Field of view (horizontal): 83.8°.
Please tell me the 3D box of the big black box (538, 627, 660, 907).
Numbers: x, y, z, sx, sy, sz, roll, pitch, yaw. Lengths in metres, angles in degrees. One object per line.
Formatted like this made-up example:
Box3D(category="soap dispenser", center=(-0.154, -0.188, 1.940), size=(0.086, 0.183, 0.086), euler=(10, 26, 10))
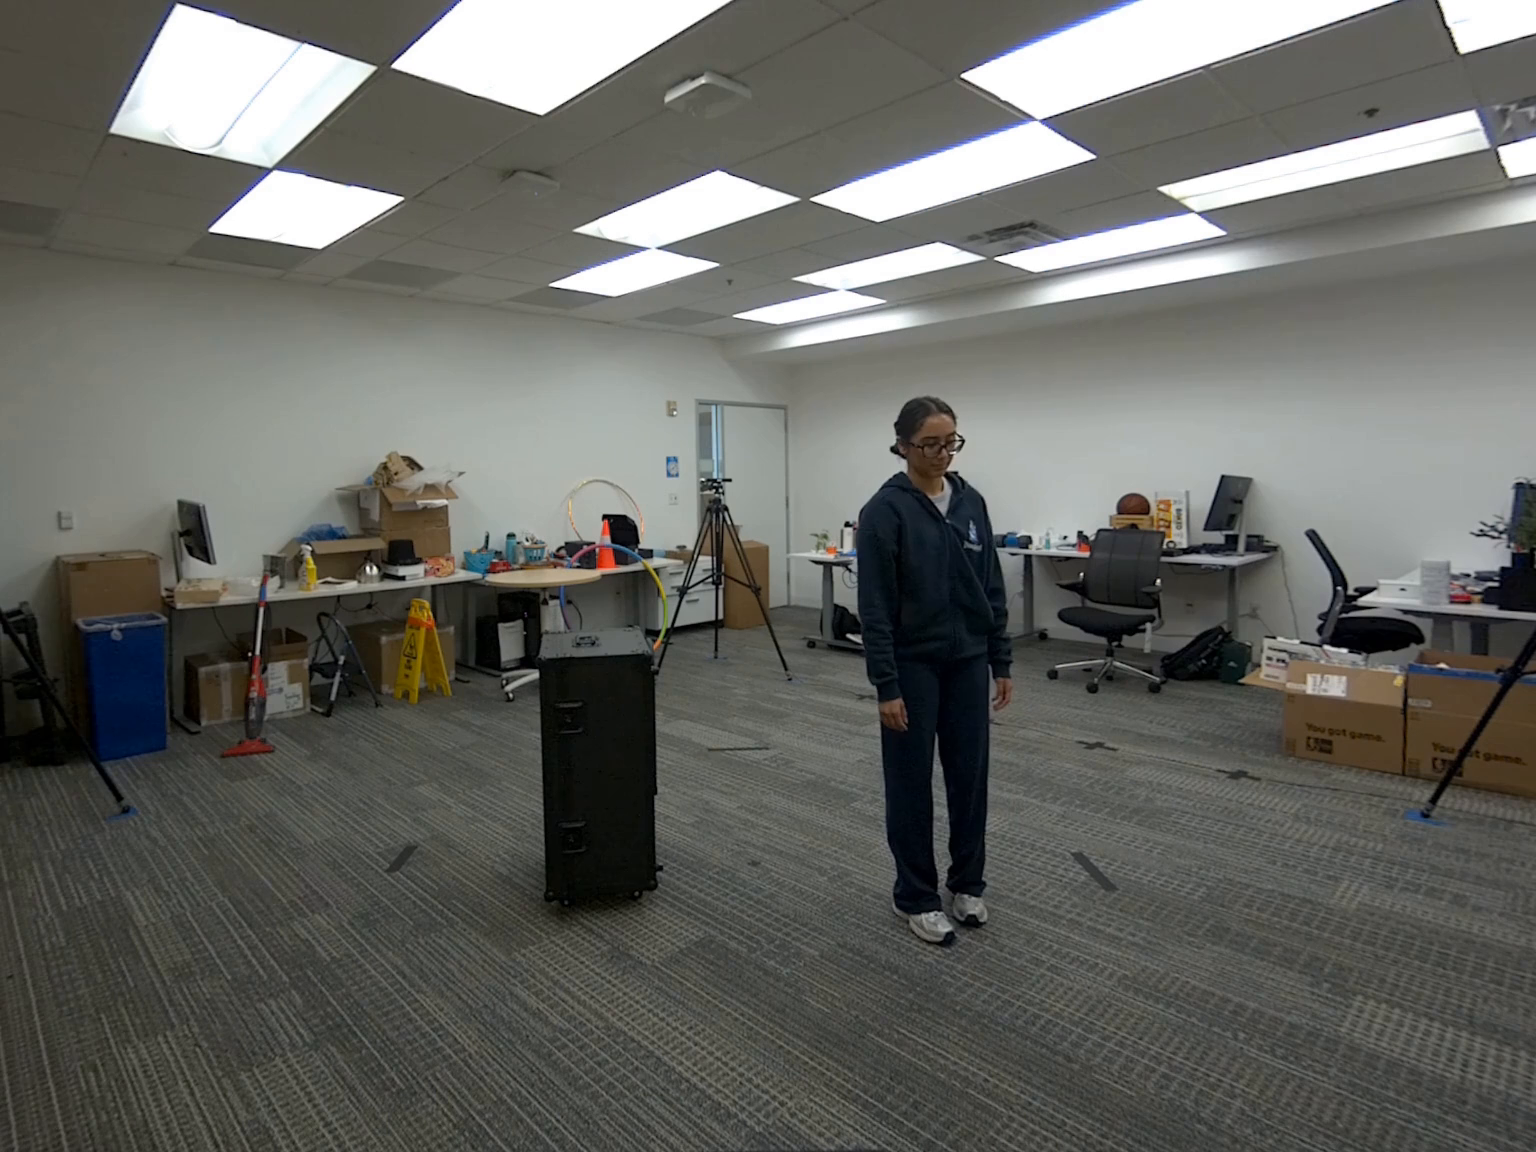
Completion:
Box3D(category="big black box", center=(-0.585, 0.645, 2.963), size=(0.392, 0.858, 0.529), euler=(-1, 4, -12))
